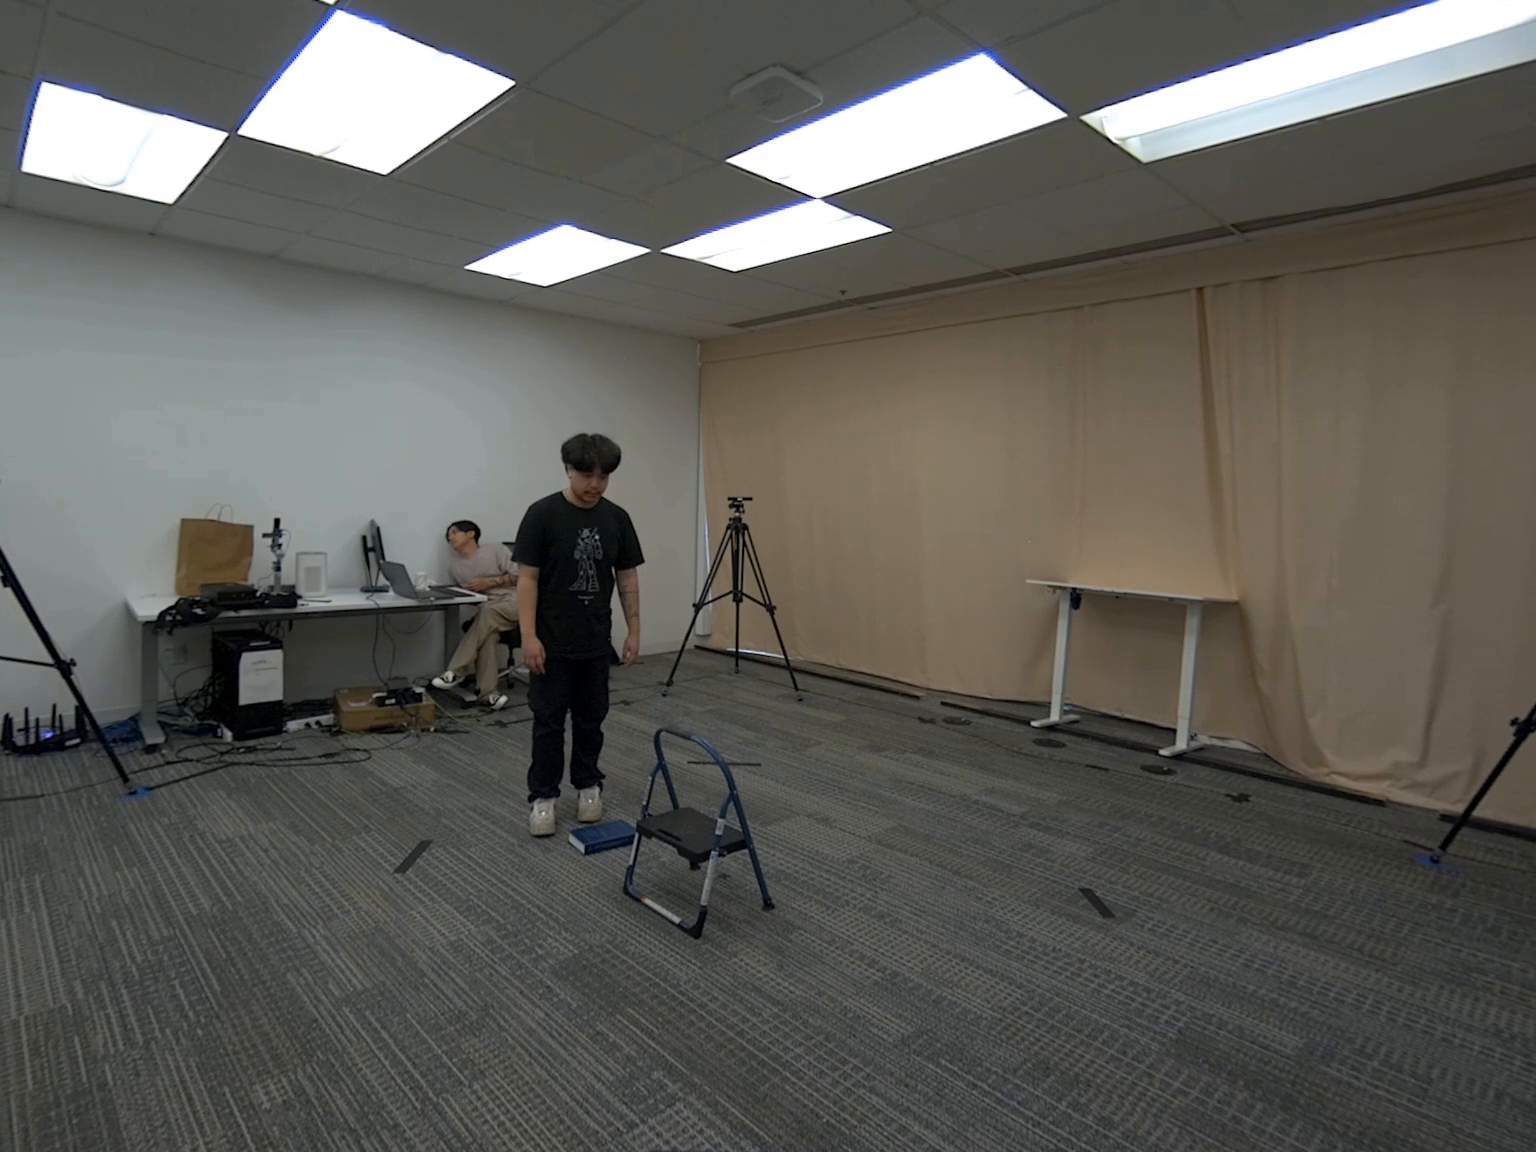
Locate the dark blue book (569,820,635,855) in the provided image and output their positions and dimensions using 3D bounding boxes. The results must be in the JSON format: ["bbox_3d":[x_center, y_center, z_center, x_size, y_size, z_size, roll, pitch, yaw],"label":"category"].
[{"bbox_3d":[-0.672,1.052,3.385,0.240,0.045,0.167,-2,6,-36],"label":"dark blue book"}]
